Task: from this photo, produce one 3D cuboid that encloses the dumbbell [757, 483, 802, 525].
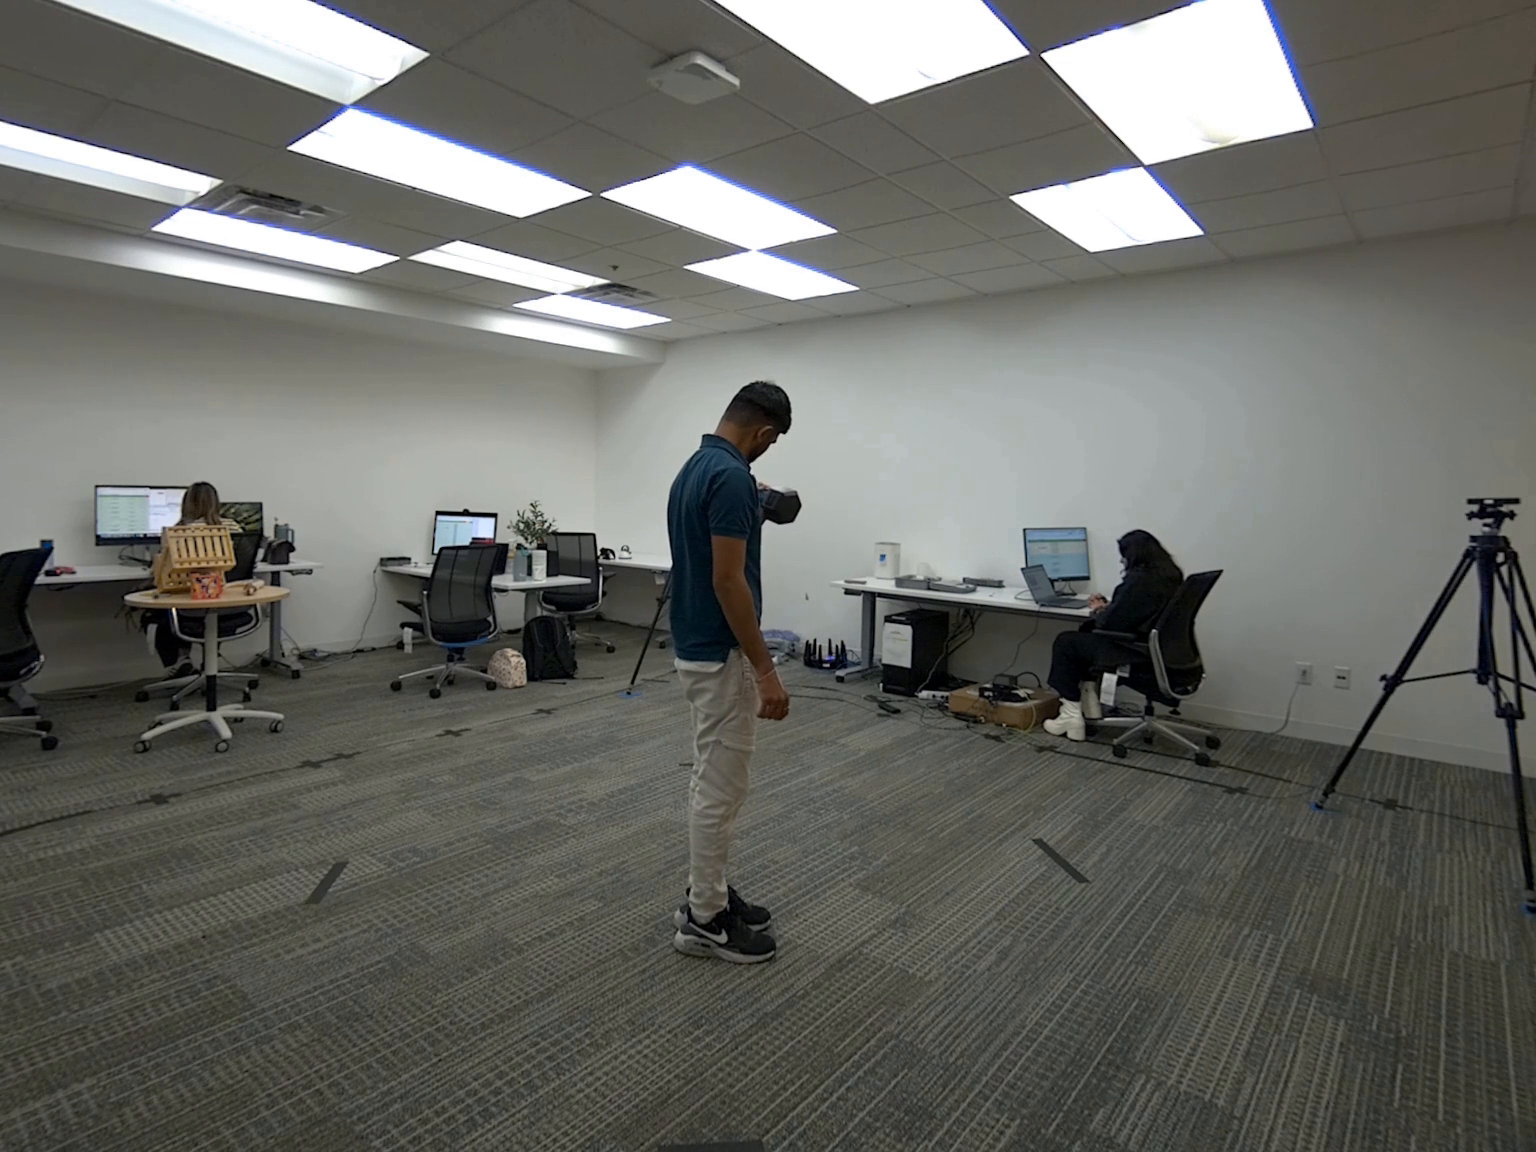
[{"bbox_3d":[-0.029,-0.250,2.781,0.104,0.123,0.306,31,-2,-43],"label":"dumbbell"}]
